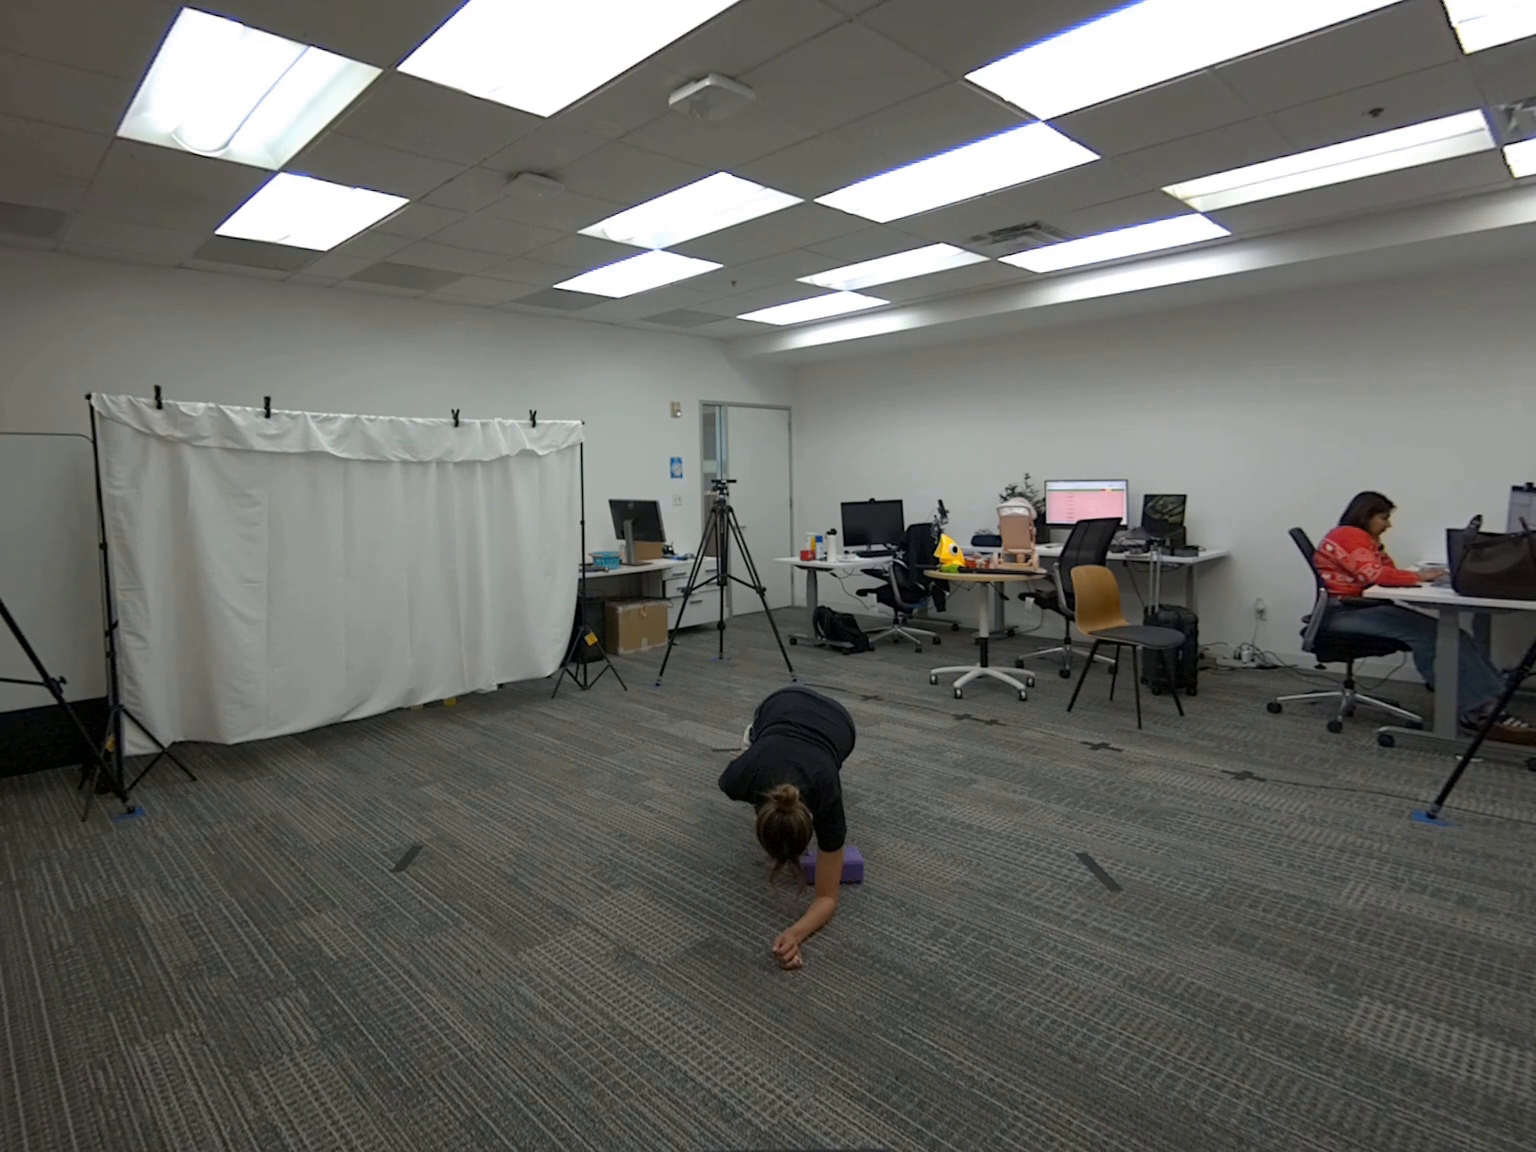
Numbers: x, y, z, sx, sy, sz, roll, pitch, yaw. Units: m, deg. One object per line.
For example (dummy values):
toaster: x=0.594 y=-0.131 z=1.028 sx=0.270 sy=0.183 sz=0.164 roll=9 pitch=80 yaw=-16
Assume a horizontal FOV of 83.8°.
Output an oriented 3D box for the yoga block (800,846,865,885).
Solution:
yoga block: x=0.212 y=1.018 z=3.005 sx=0.229 sy=0.076 sz=0.149 roll=-3 pitch=4 yaw=0
